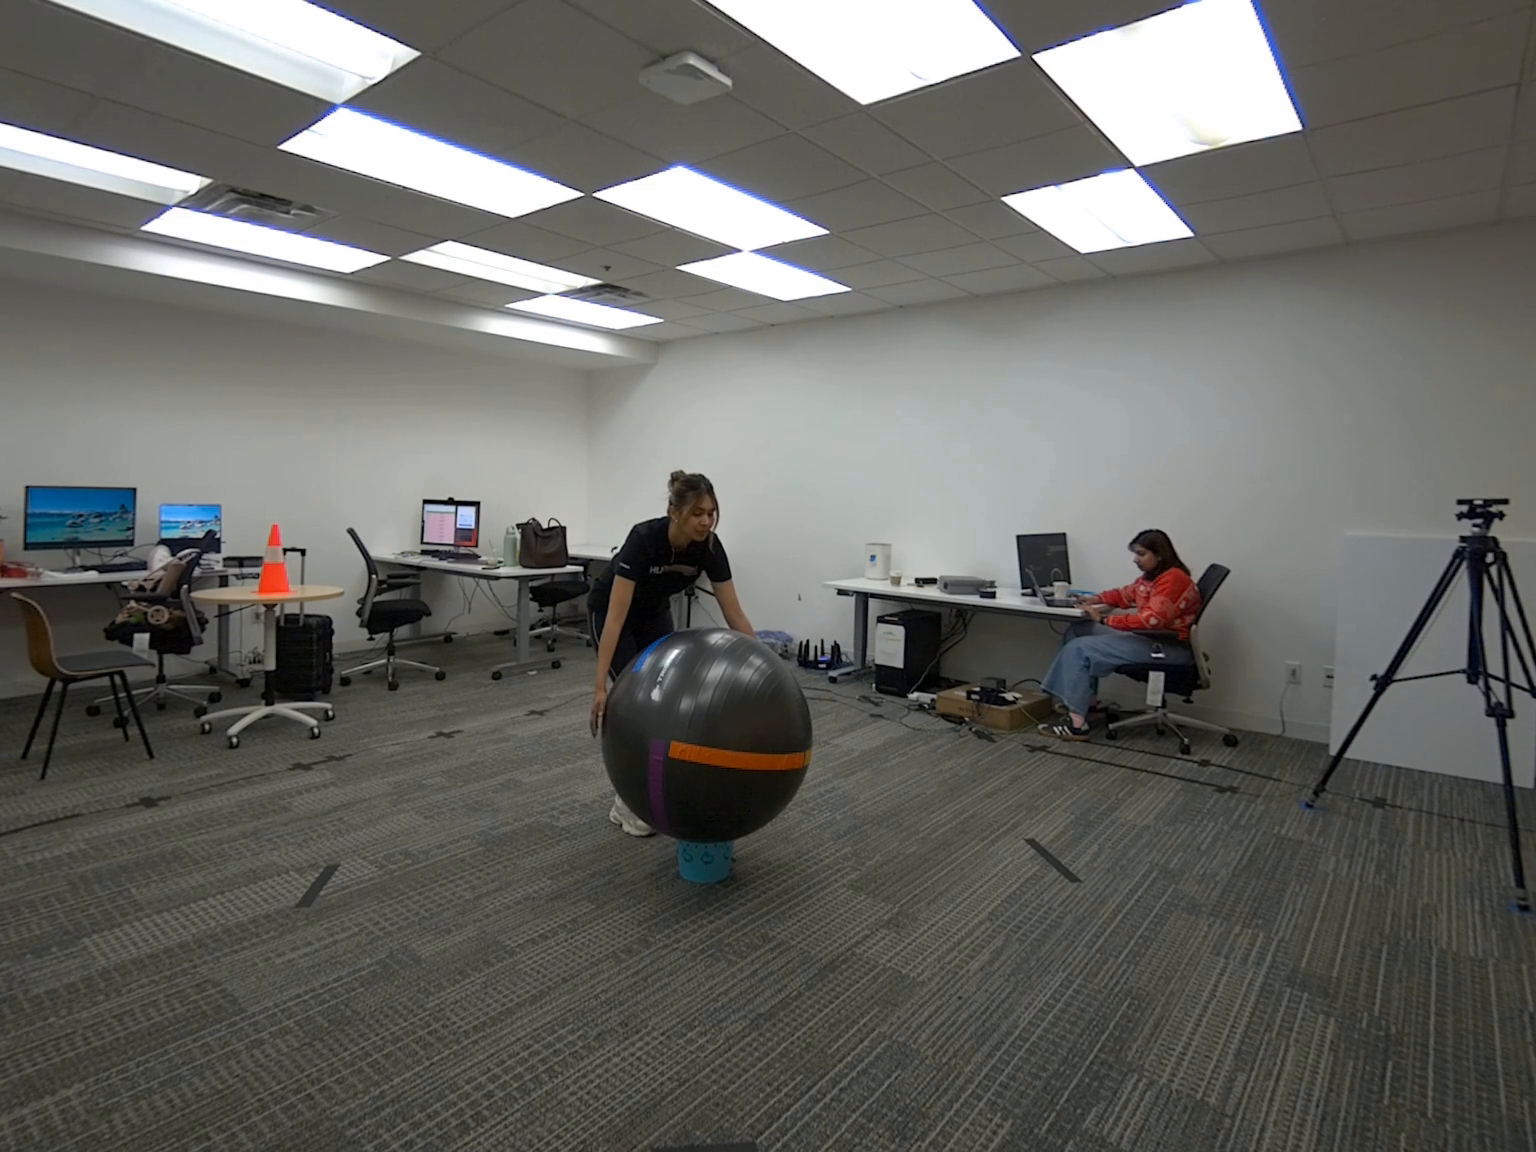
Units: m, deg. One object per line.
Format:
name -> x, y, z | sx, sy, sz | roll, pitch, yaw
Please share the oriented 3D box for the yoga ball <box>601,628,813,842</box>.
yoga ball -> -0.233, 0.560, 3.066 | 0.757, 0.756, 0.761 | 1, 4, -2
